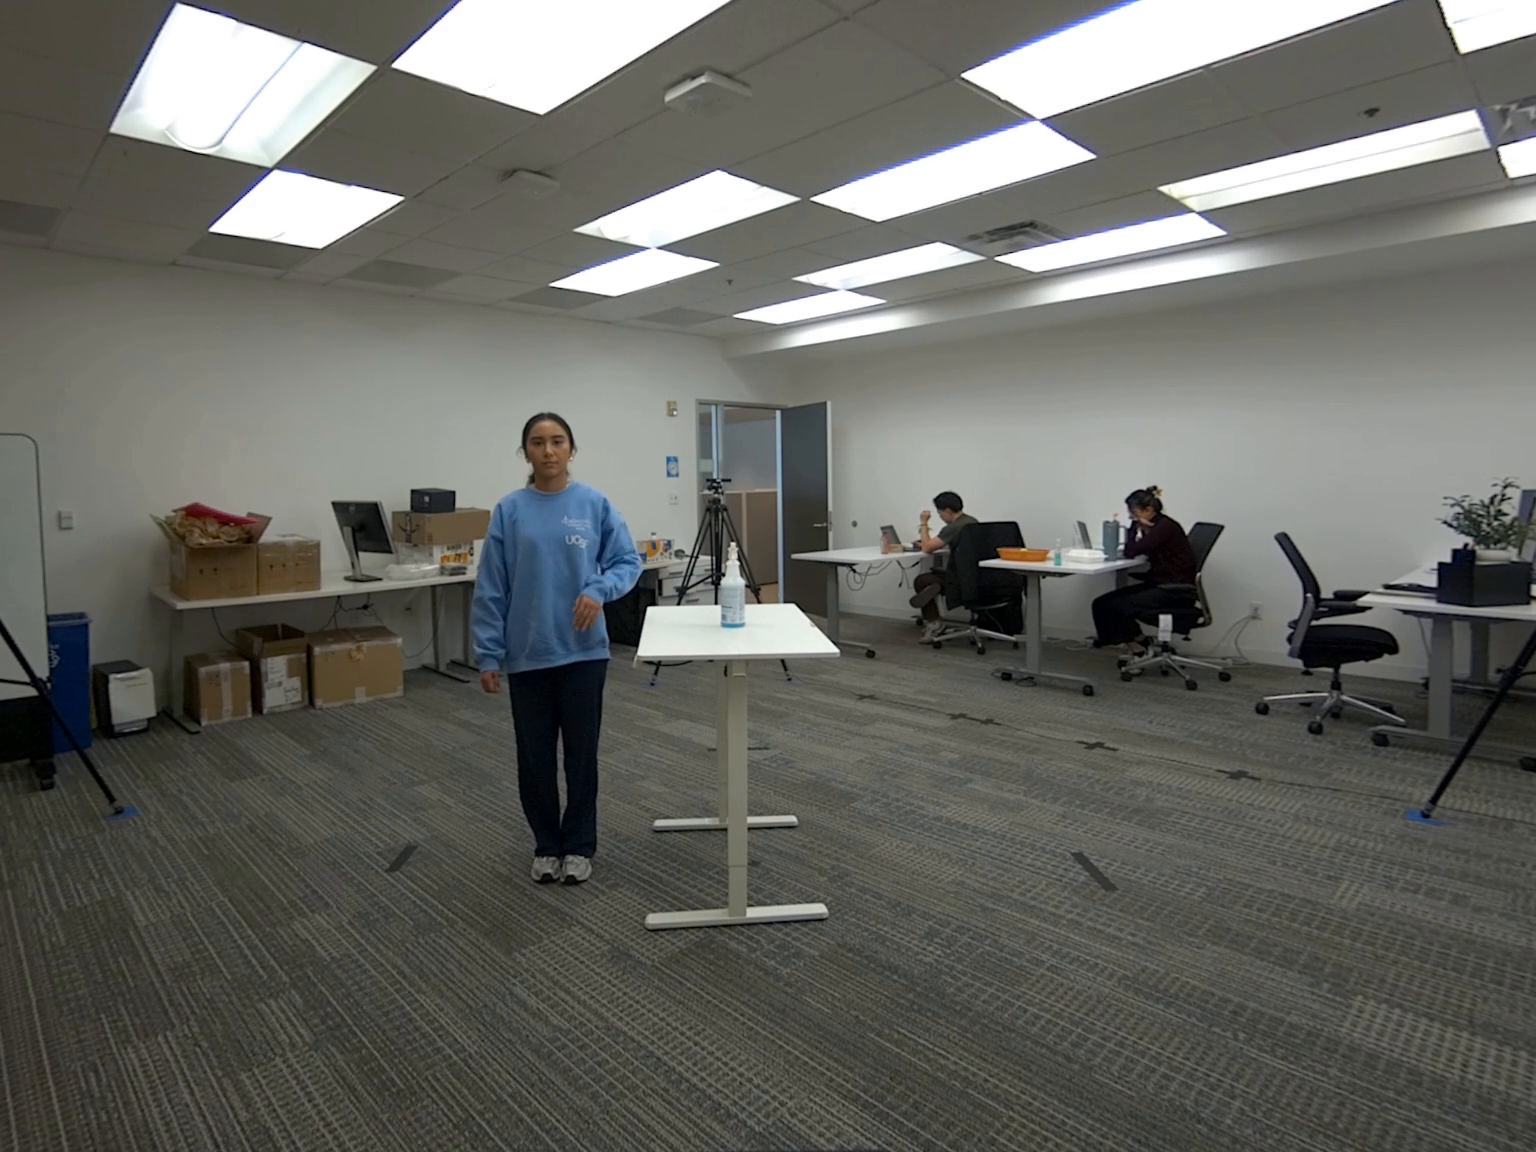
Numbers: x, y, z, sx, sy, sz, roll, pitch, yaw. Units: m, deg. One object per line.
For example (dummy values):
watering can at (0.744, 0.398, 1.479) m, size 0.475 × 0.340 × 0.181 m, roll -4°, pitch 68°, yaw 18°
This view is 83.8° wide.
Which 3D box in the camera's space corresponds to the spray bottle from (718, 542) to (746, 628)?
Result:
spray bottle at (-0.123, 0.030, 2.990) m, size 0.089 × 0.296 × 0.089 m, roll 2°, pitch 6°, yaw 20°
